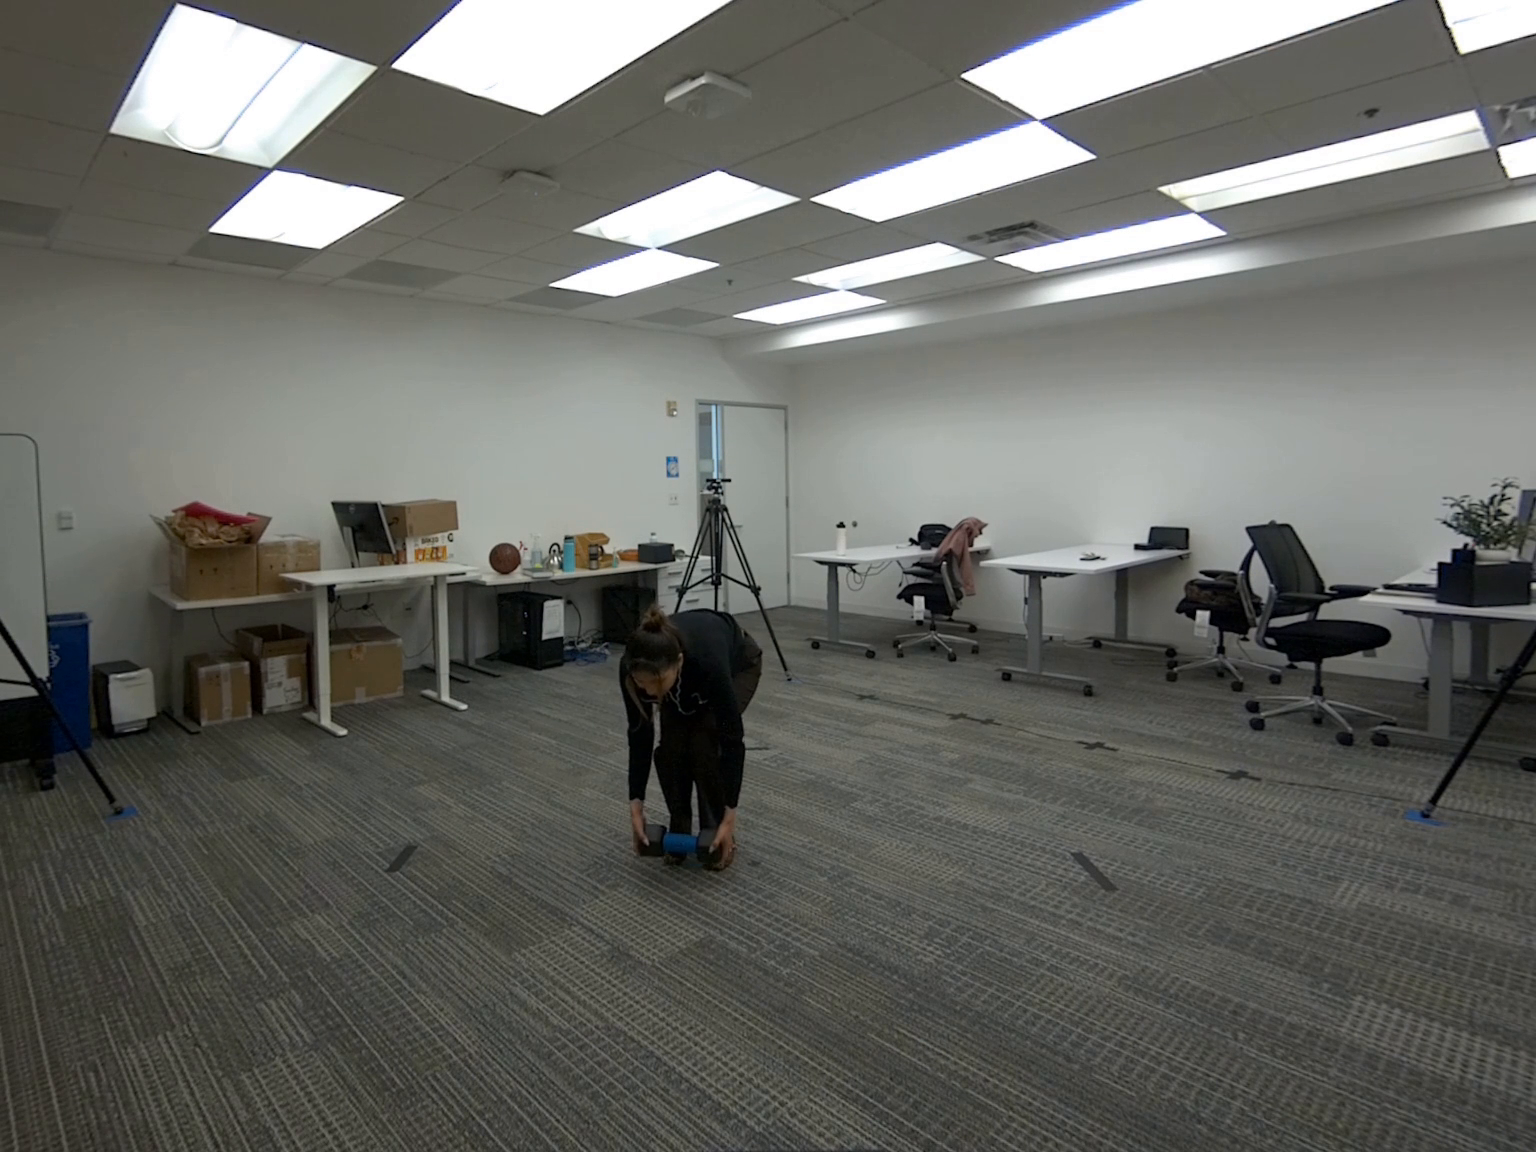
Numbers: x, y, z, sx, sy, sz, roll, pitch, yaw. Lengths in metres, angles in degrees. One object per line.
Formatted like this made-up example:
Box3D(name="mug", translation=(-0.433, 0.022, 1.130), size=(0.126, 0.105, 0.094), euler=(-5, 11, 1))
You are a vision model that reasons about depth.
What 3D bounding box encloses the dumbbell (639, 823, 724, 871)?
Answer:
Box3D(name="dumbbell", translation=(-0.303, 0.927, 2.993), size=(0.297, 0.105, 0.125), euler=(1, 44, 11))
